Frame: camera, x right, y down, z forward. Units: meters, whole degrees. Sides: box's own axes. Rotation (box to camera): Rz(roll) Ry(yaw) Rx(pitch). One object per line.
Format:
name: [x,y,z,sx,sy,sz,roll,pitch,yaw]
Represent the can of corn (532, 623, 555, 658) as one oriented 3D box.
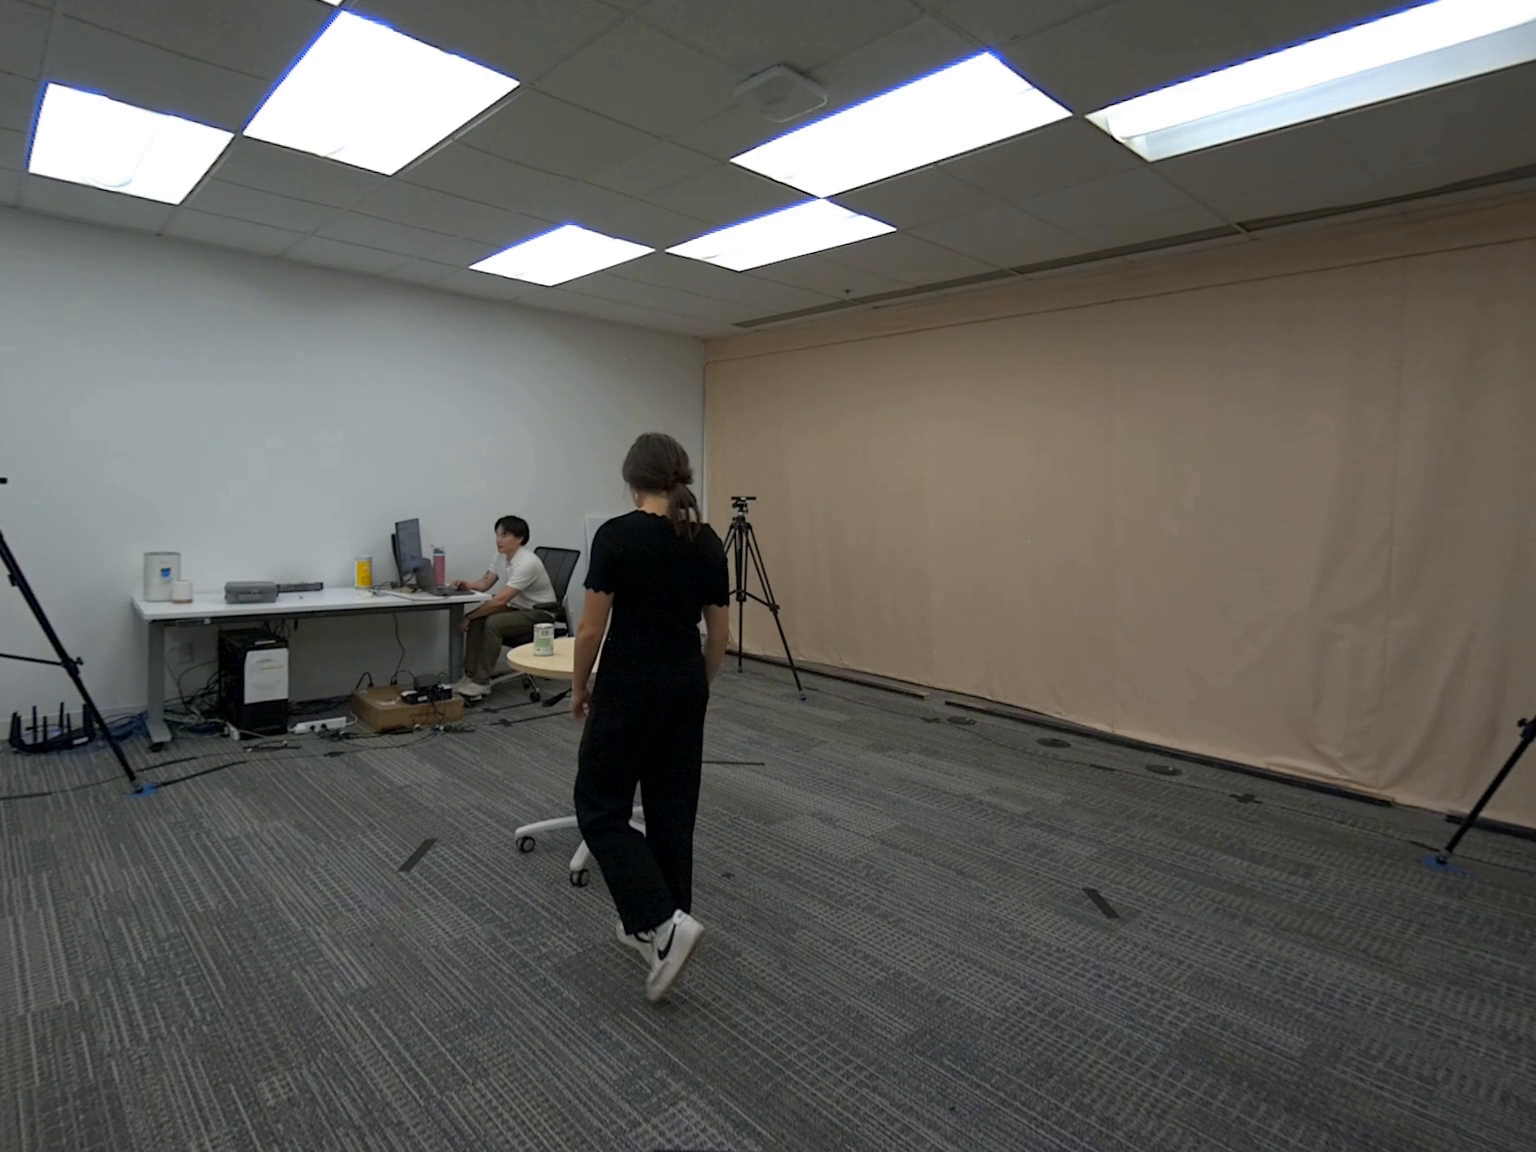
can of corn: [-0.857,0.244,3.192,0.074,0.111,0.074,1,5,-1]
